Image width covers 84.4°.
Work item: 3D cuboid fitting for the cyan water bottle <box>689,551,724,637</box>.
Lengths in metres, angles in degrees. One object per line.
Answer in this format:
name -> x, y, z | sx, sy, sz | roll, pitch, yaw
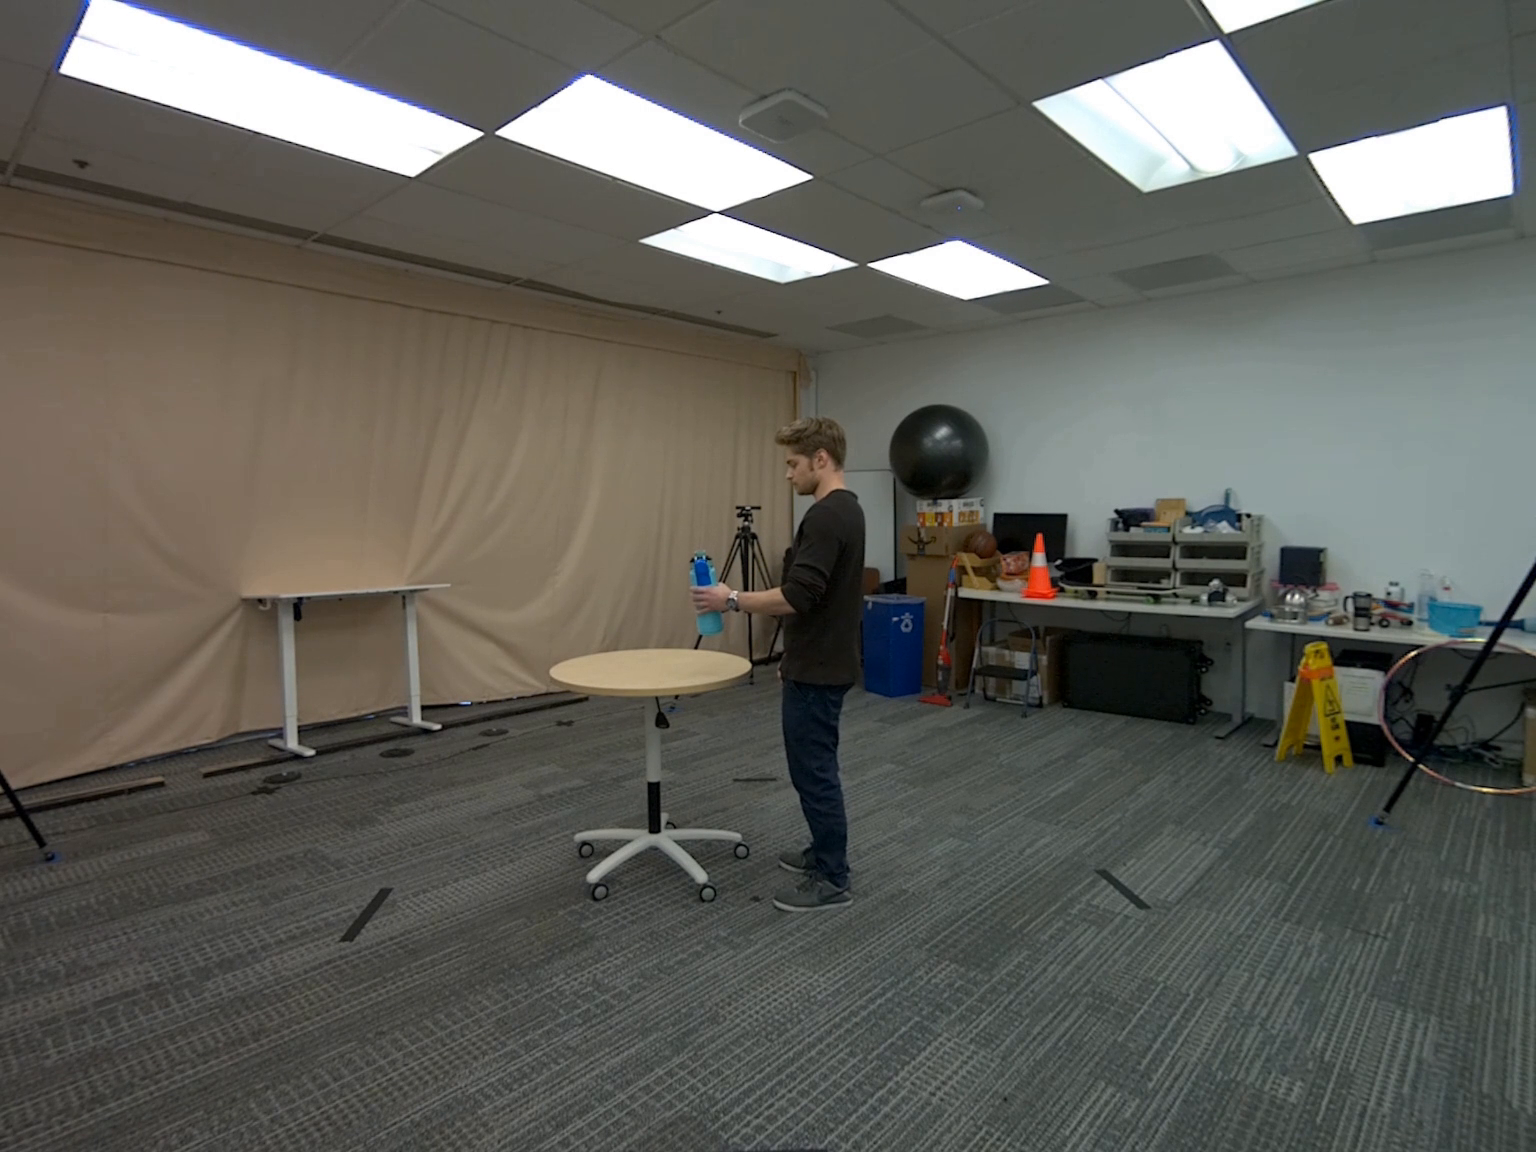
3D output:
cyan water bottle -> -0.207, 0.056, 2.904 | 0.092, 0.281, 0.093 | -7, 11, 0
